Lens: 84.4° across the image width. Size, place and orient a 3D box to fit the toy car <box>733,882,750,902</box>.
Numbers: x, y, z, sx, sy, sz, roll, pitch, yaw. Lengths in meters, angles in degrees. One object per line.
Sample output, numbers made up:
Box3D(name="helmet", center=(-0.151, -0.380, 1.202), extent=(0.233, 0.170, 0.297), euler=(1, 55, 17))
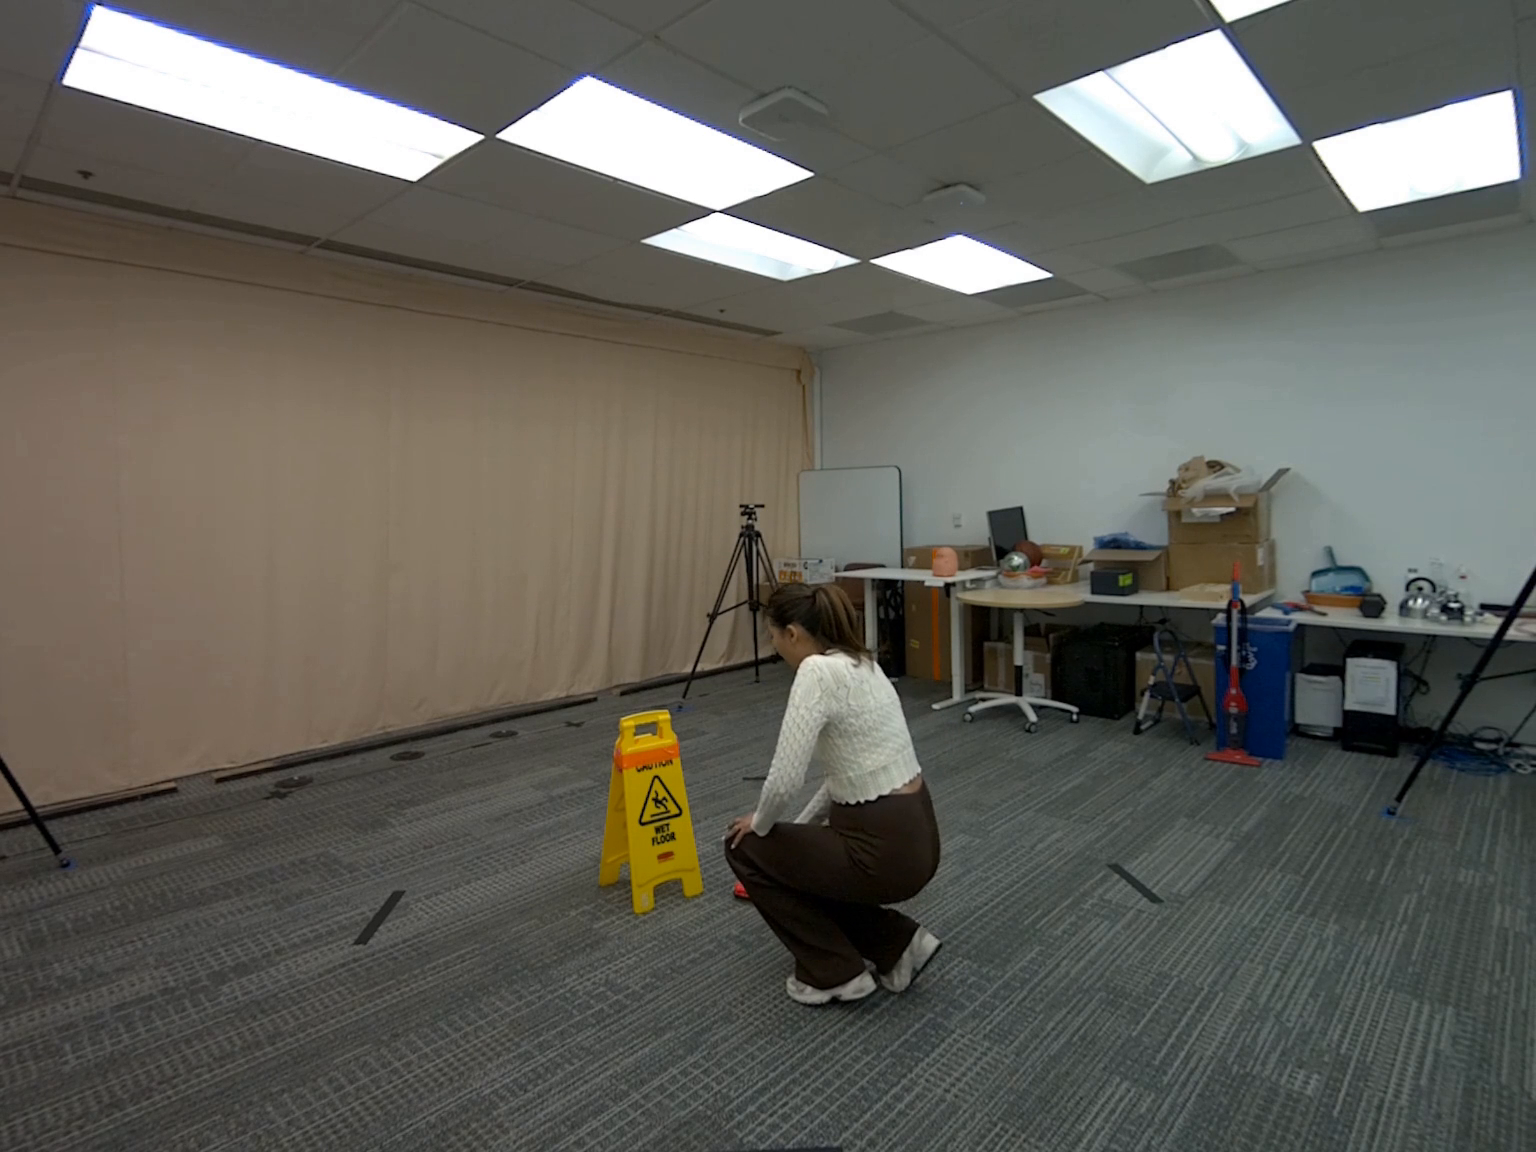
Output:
Box3D(name="toy car", center=(-0.022, 1.102, 3.047), extent=(0.133, 0.082, 0.251), euler=(-1, 15, 23))
